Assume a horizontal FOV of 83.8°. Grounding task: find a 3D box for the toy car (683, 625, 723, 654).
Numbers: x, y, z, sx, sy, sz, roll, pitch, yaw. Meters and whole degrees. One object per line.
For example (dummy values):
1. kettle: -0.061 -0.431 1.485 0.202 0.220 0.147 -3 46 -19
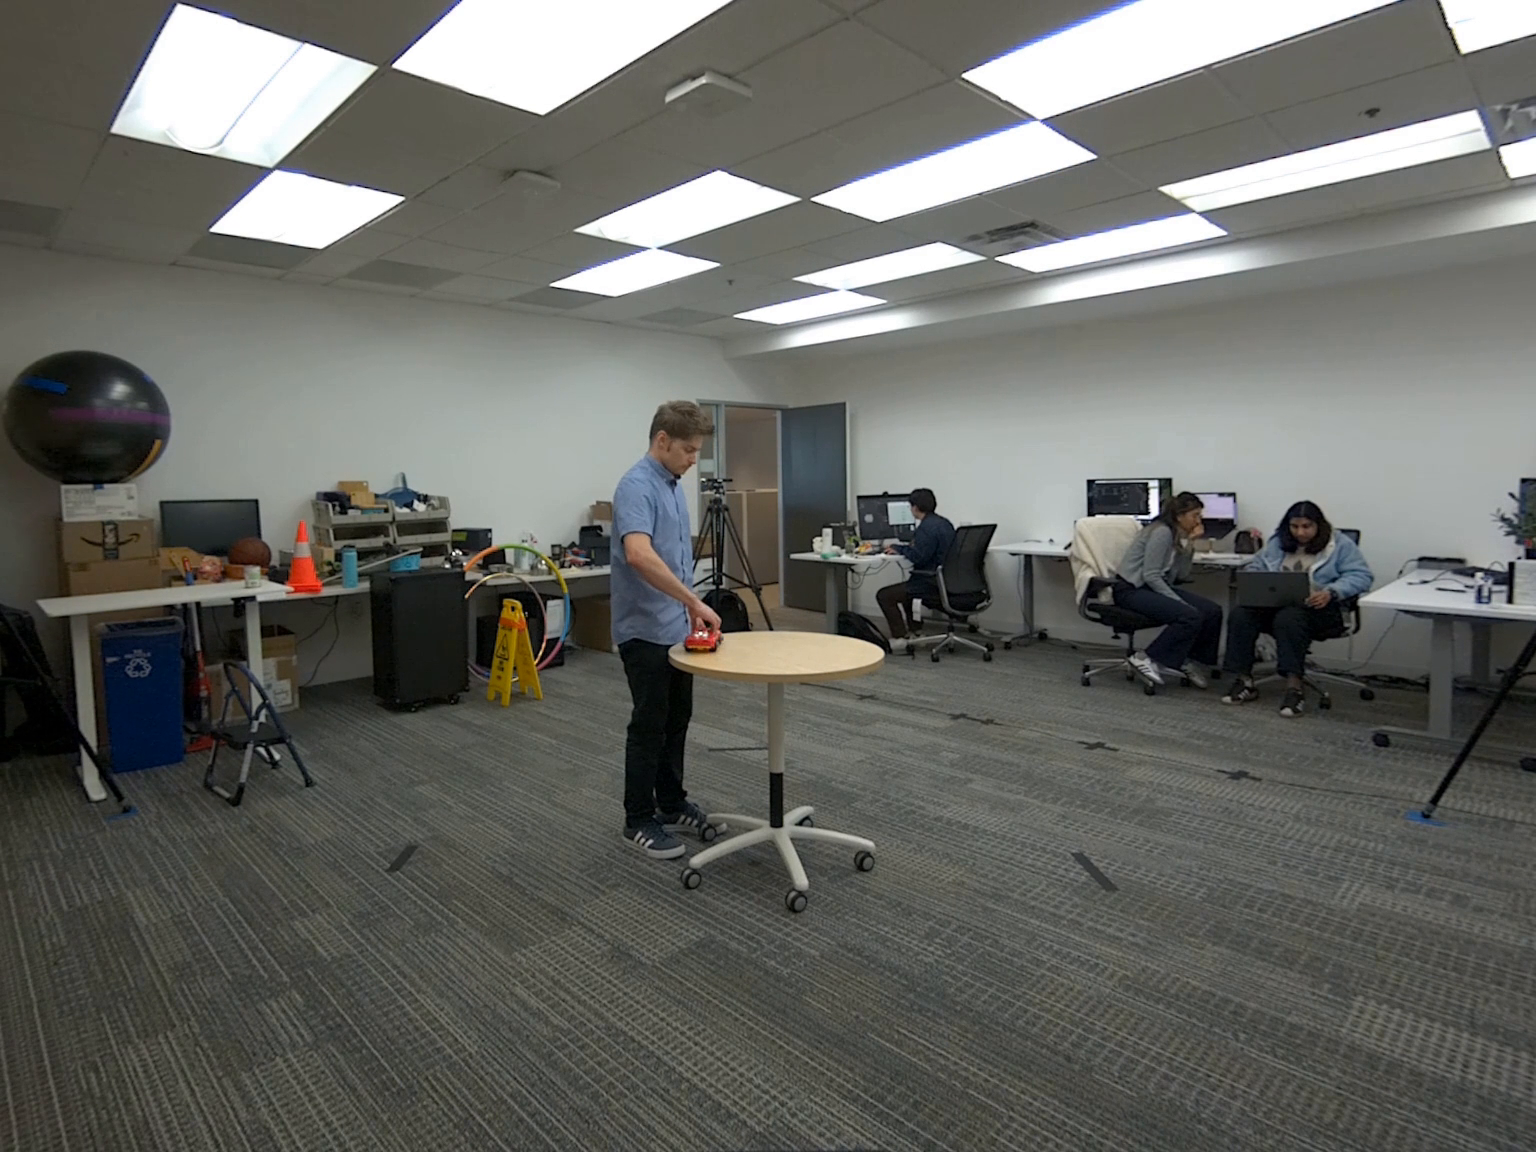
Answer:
1. toy car: -0.226 0.233 3.086 0.131 0.084 0.251 2 -7 5
